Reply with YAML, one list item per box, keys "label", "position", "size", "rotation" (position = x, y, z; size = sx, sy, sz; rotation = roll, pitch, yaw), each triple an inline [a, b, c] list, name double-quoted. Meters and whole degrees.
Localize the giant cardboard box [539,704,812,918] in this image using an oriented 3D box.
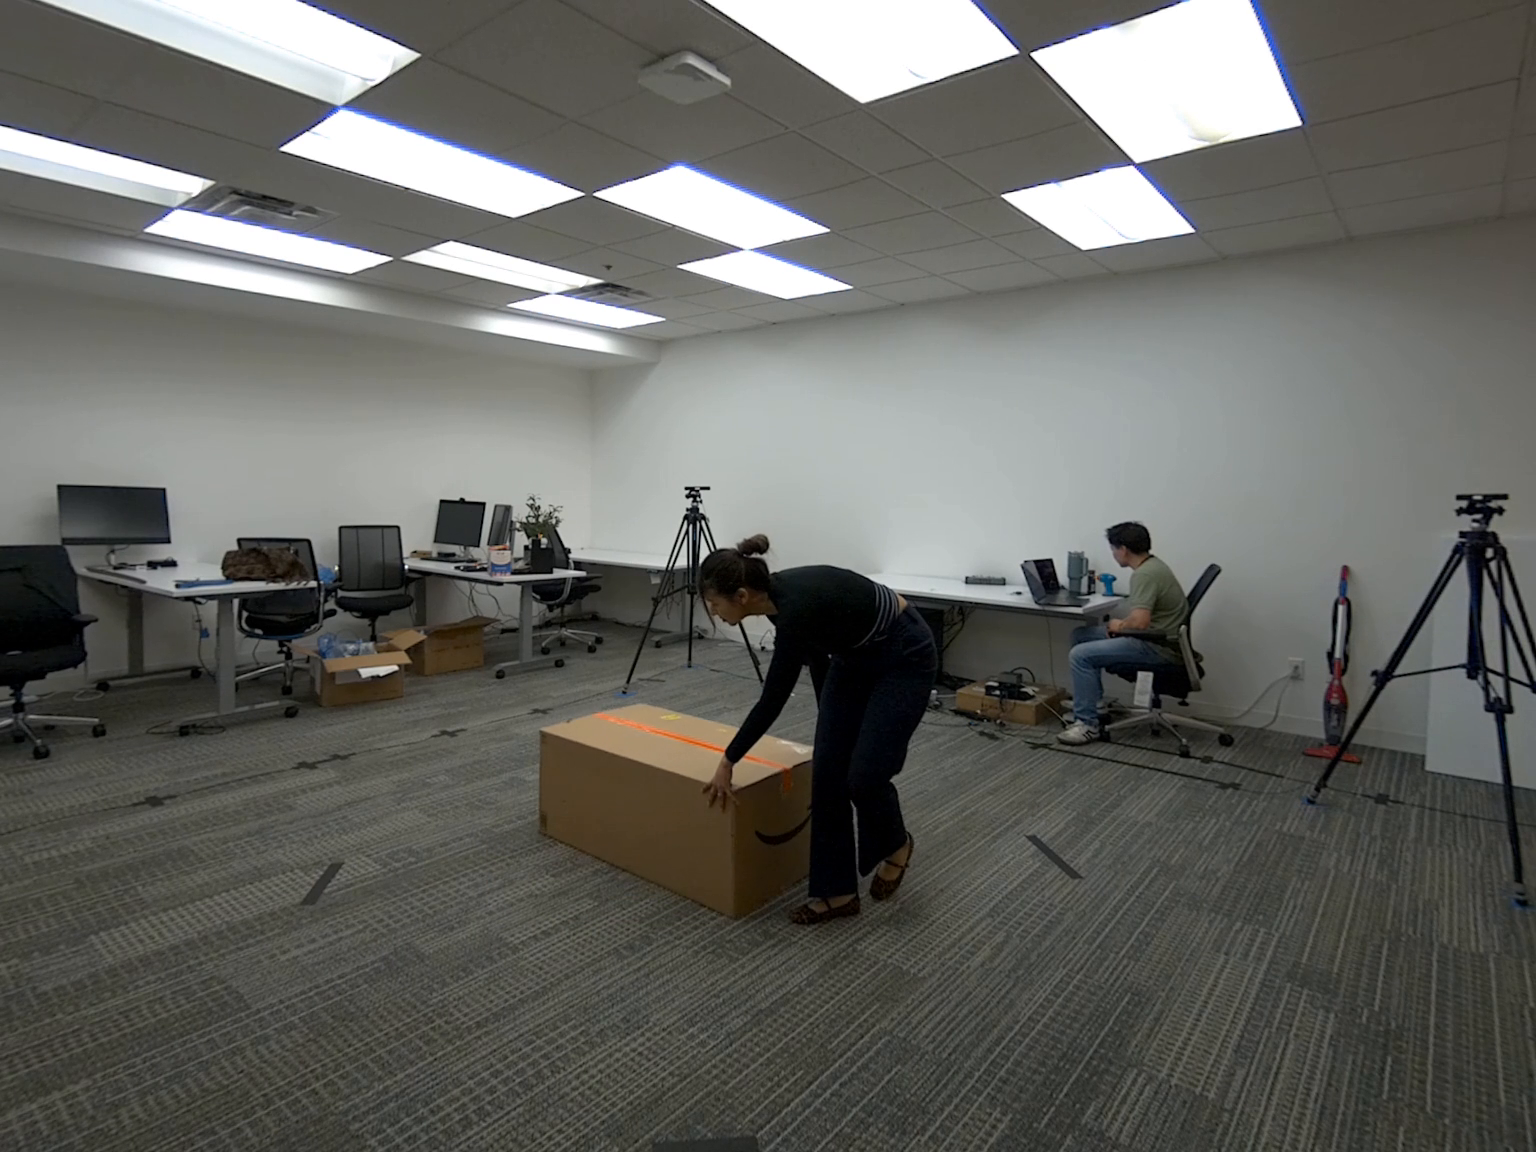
- label: "giant cardboard box"
  position: [-0.350, 0.832, 3.271]
  size: [1.060, 0.425, 0.560]
  rotation: [5, 6, 39]
